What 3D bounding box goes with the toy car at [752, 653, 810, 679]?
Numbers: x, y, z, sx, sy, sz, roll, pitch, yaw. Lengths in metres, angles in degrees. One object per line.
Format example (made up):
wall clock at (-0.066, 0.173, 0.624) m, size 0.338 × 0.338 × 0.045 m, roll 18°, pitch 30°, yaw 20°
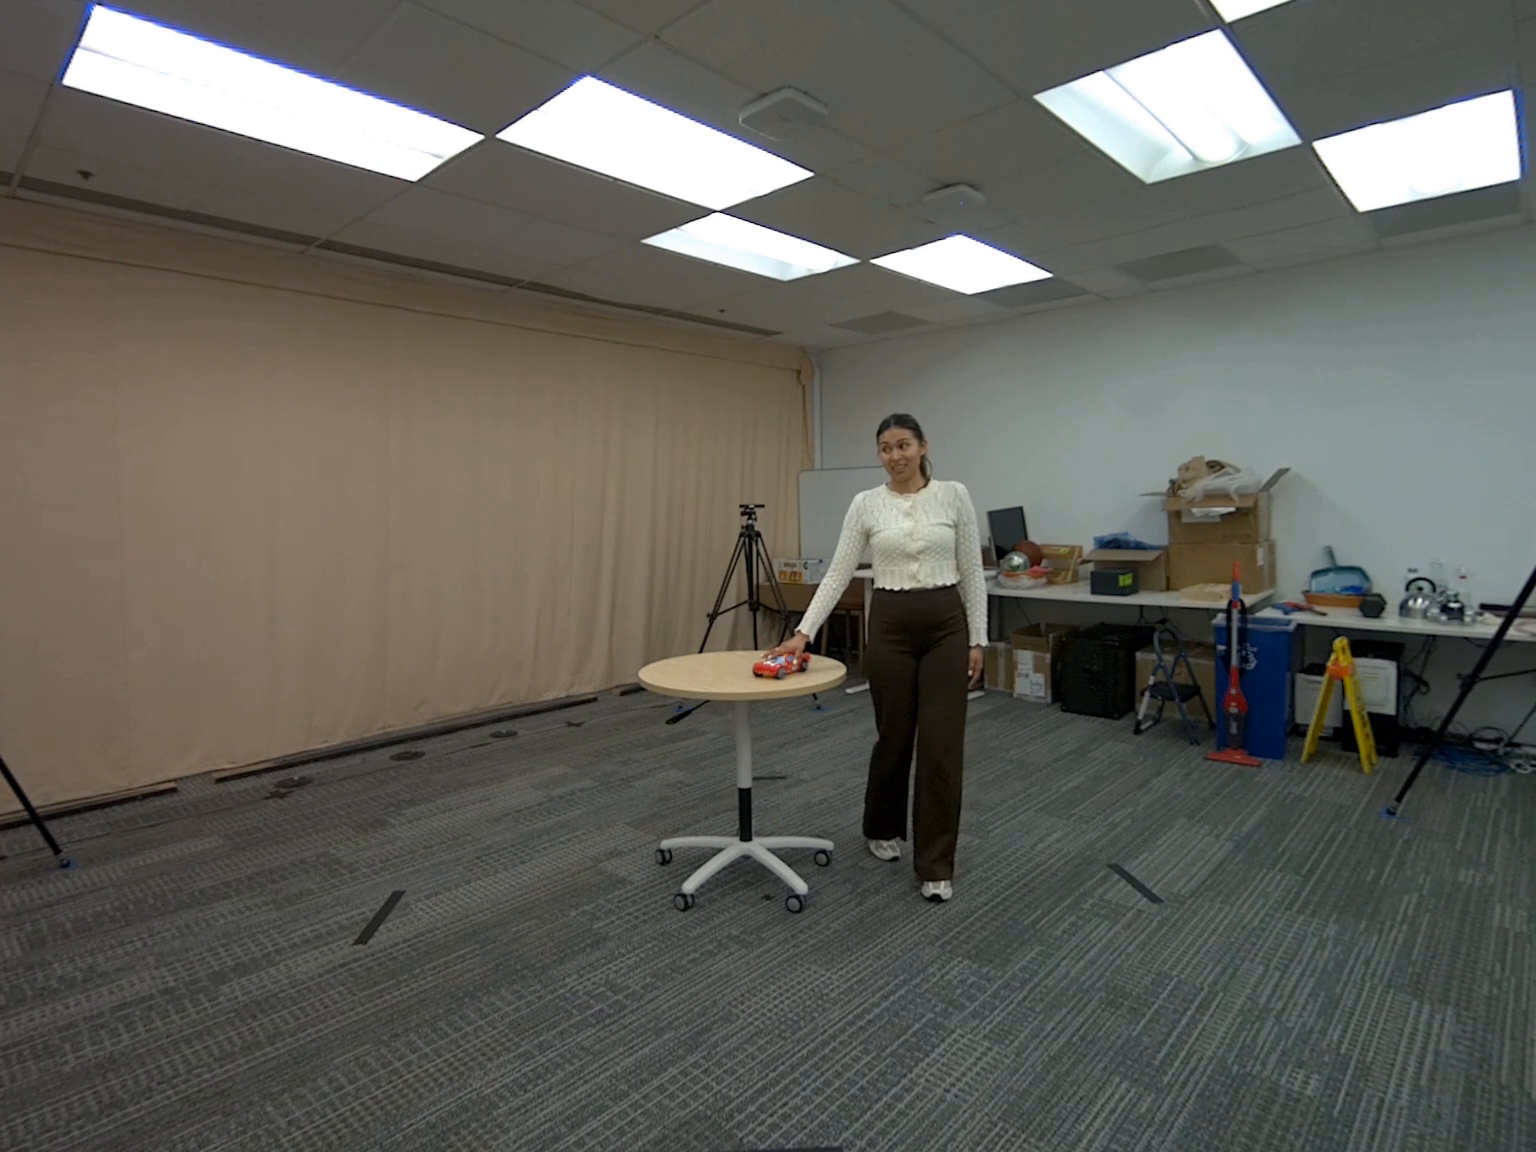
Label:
toy car at (0.060, 0.318, 3.021) m, size 0.134 × 0.082 × 0.249 m, roll 2°, pitch 17°, yaw 37°
